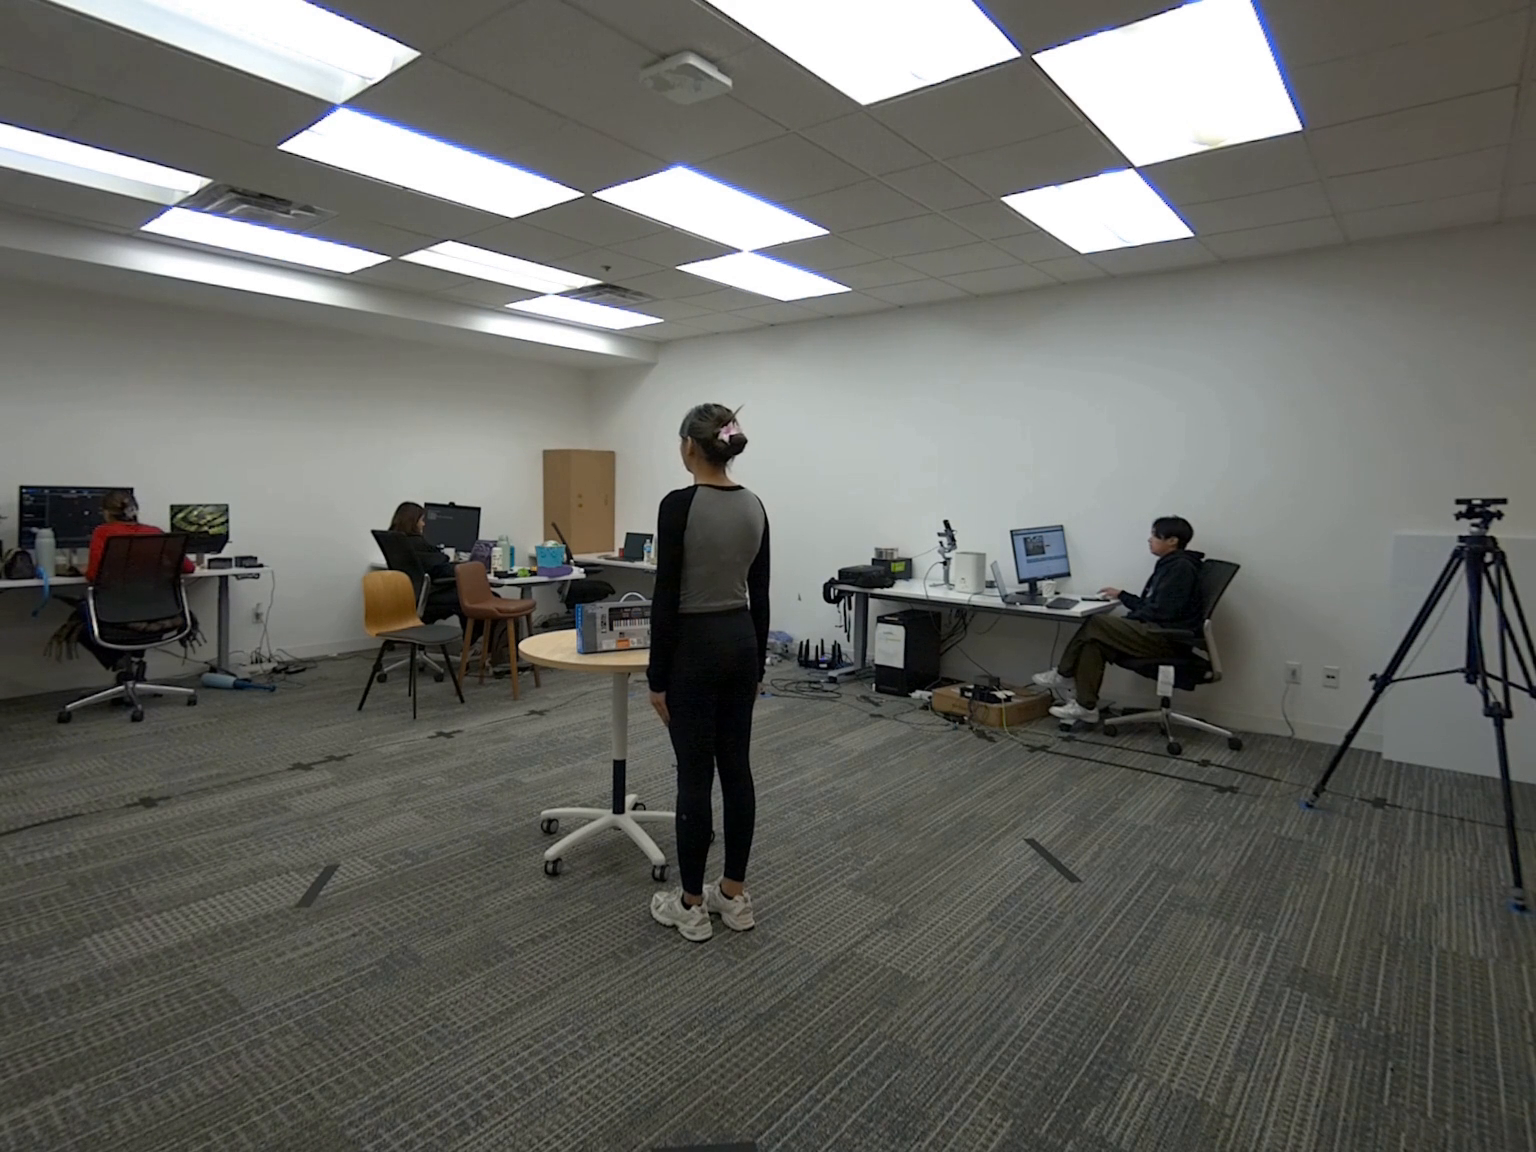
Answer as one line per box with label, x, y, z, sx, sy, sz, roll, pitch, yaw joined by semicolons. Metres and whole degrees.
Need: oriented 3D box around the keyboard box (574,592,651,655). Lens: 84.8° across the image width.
keyboard box;-0.508;0.180;3.156;0.425;0.176;0.060;-2;-2;-30
